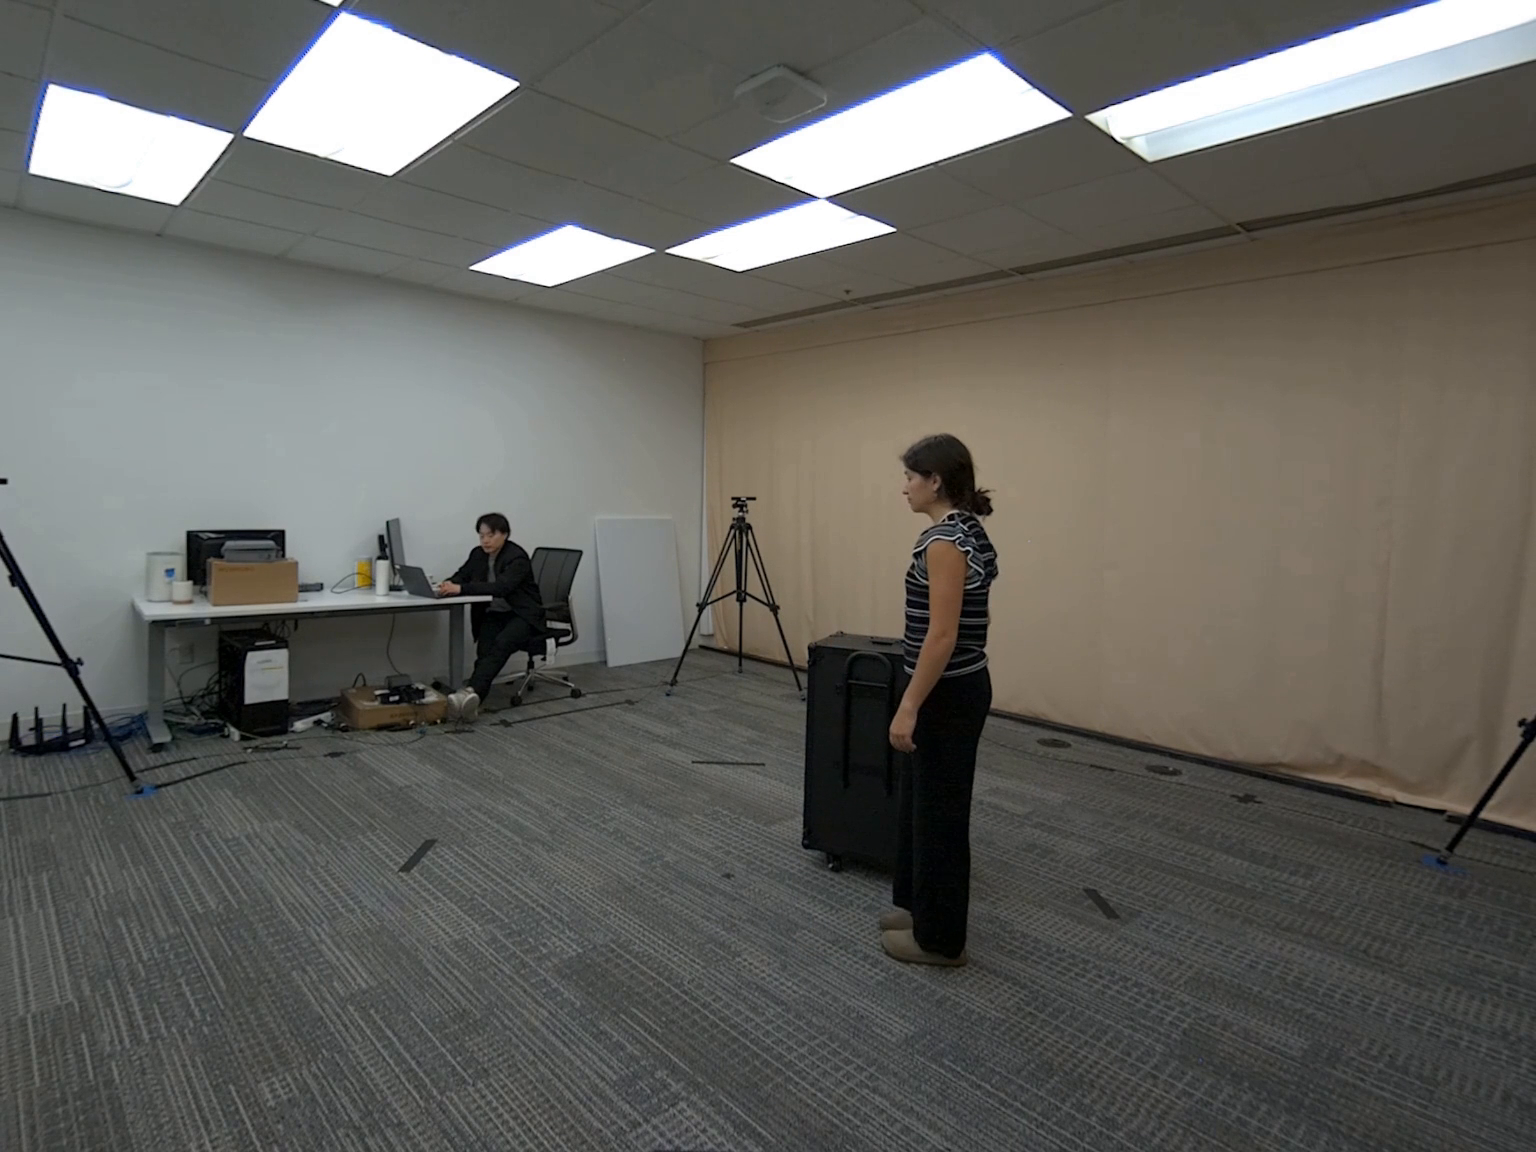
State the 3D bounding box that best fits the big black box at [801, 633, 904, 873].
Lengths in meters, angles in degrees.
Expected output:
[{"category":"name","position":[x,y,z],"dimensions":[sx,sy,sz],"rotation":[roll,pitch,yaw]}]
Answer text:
[{"category":"big black box","position":[0.419,0.685,3.218],"dimensions":[0.531,0.859,0.389],"rotation":[4,4,25]}]
